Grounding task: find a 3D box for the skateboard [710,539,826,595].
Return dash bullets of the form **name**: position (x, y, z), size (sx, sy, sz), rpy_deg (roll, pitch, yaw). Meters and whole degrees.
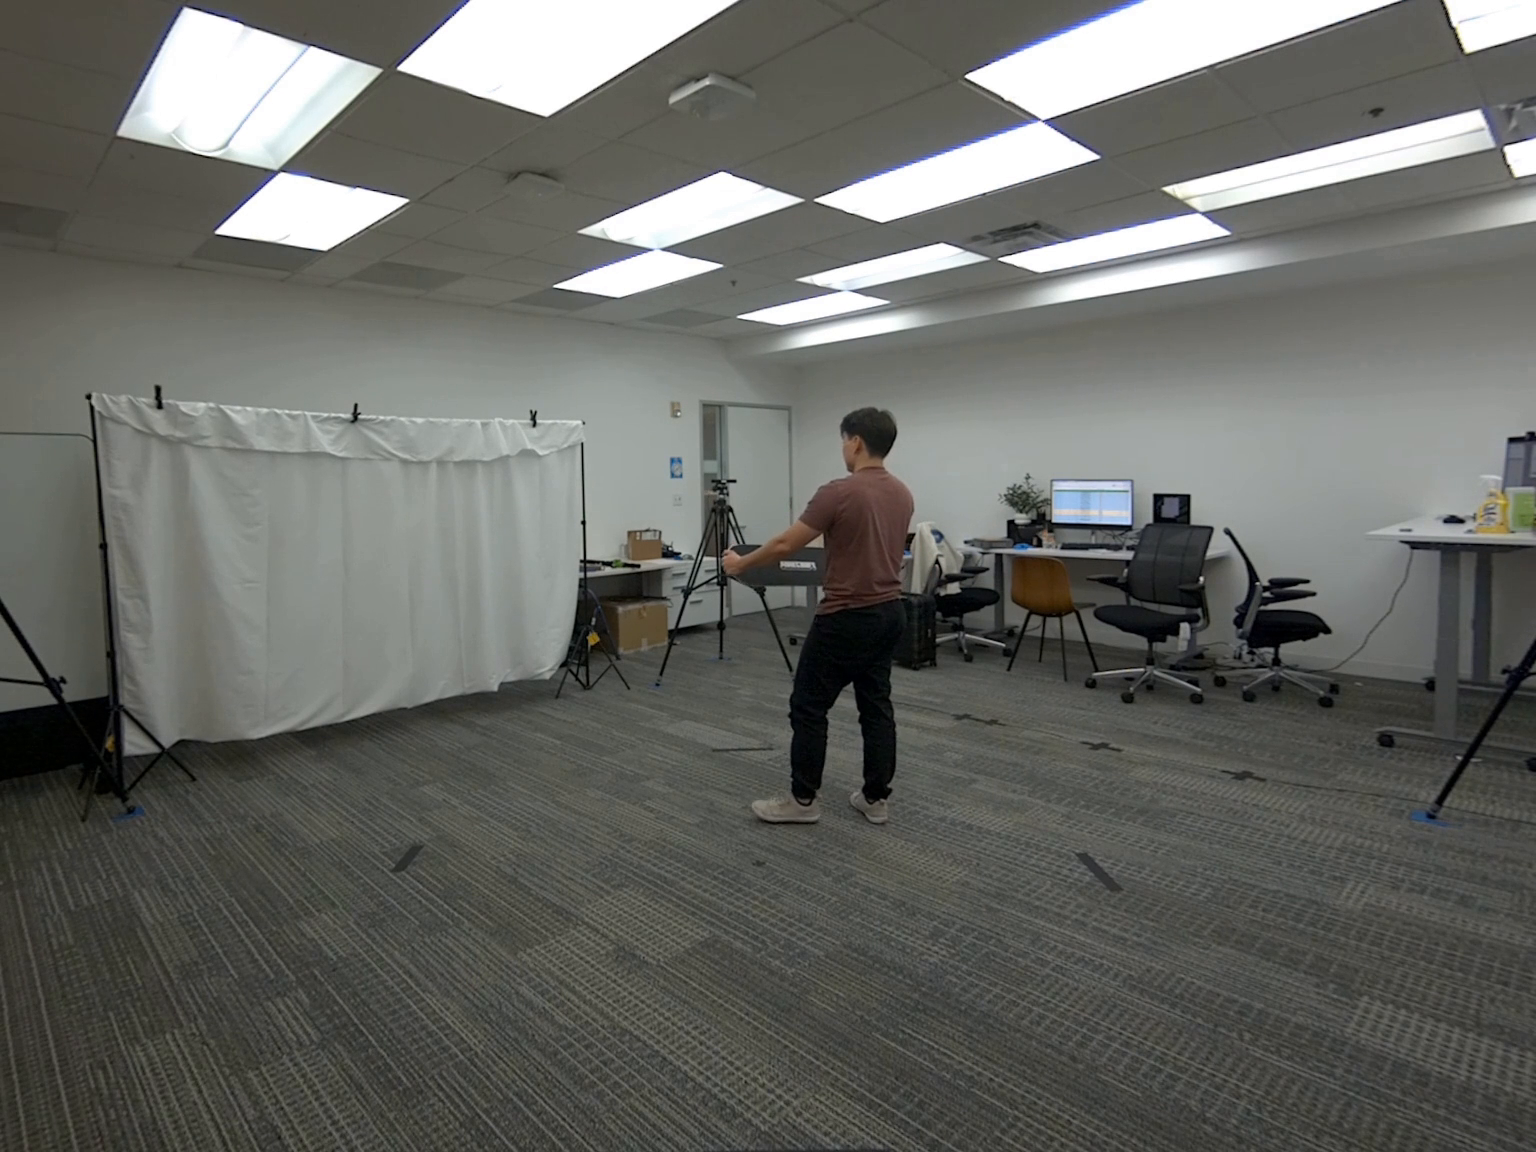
- **skateboard**: position (0.117, -0.034, 3.814), size (0.763, 0.198, 0.111), rpy_deg (2, -28, -36)
